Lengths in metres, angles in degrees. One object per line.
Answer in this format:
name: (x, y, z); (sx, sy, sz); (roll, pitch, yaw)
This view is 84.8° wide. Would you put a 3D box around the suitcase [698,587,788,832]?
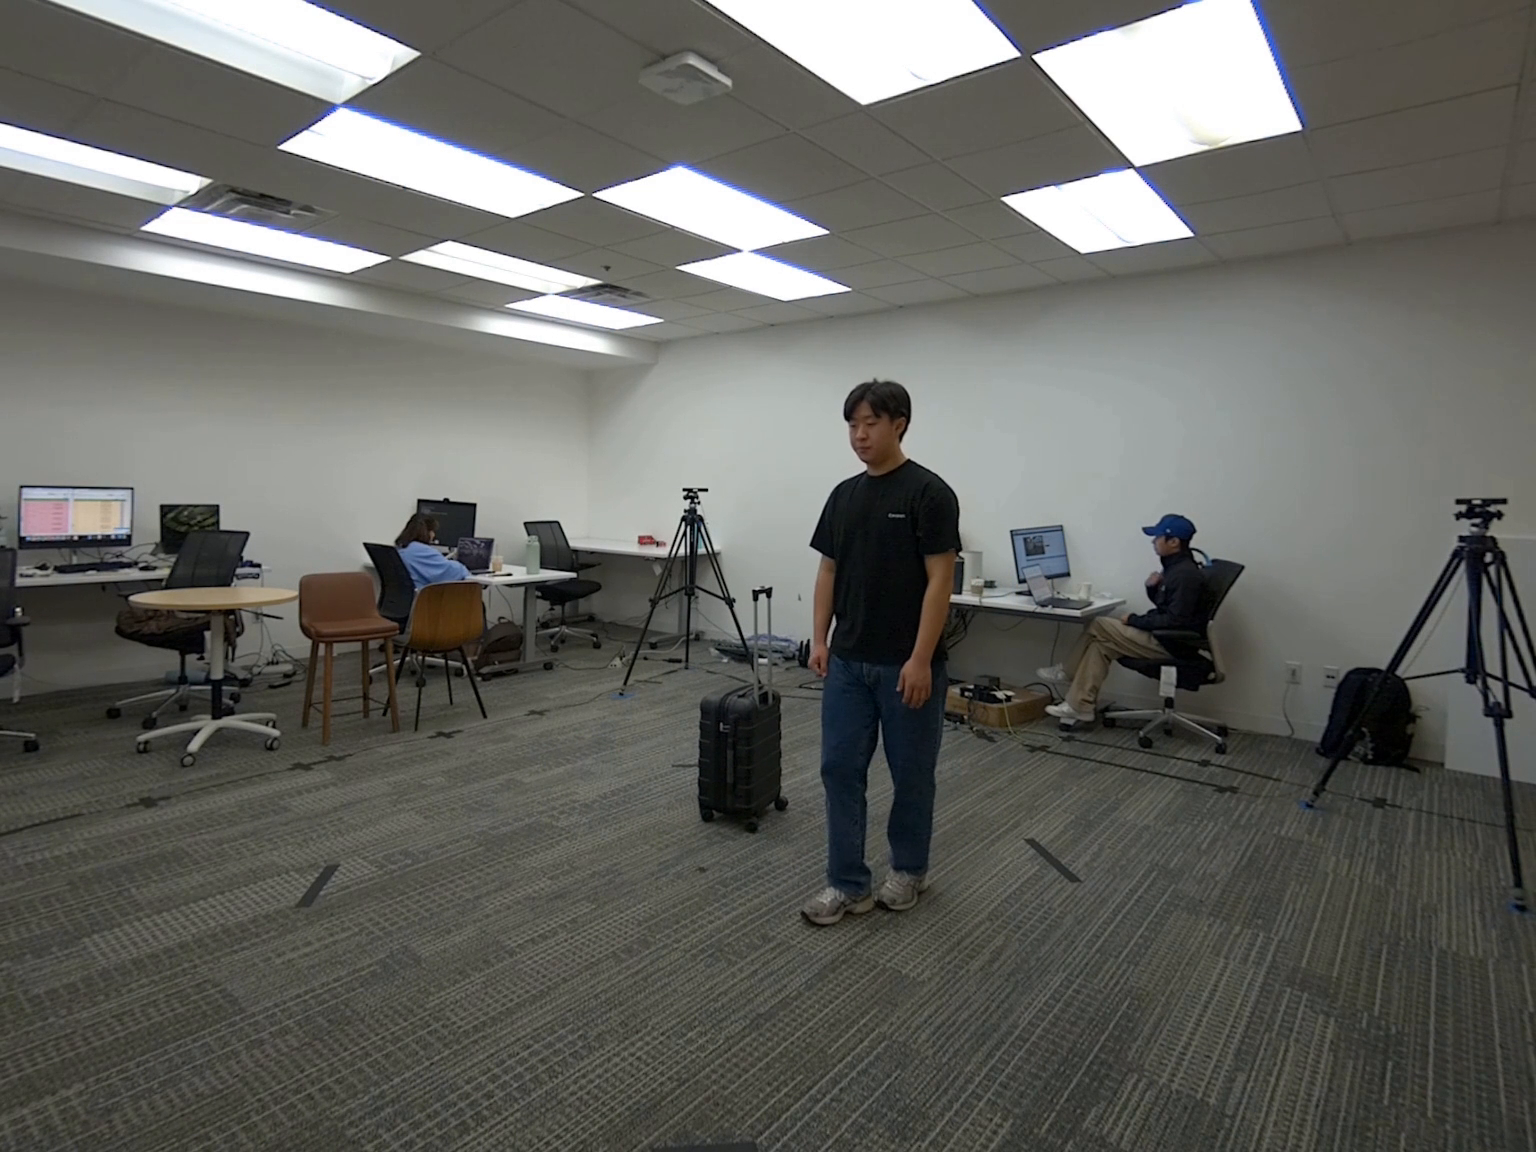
suitcase: (-0.133, 0.545, 3.633); (0.264, 0.978, 0.374); (-2, 1, 27)
